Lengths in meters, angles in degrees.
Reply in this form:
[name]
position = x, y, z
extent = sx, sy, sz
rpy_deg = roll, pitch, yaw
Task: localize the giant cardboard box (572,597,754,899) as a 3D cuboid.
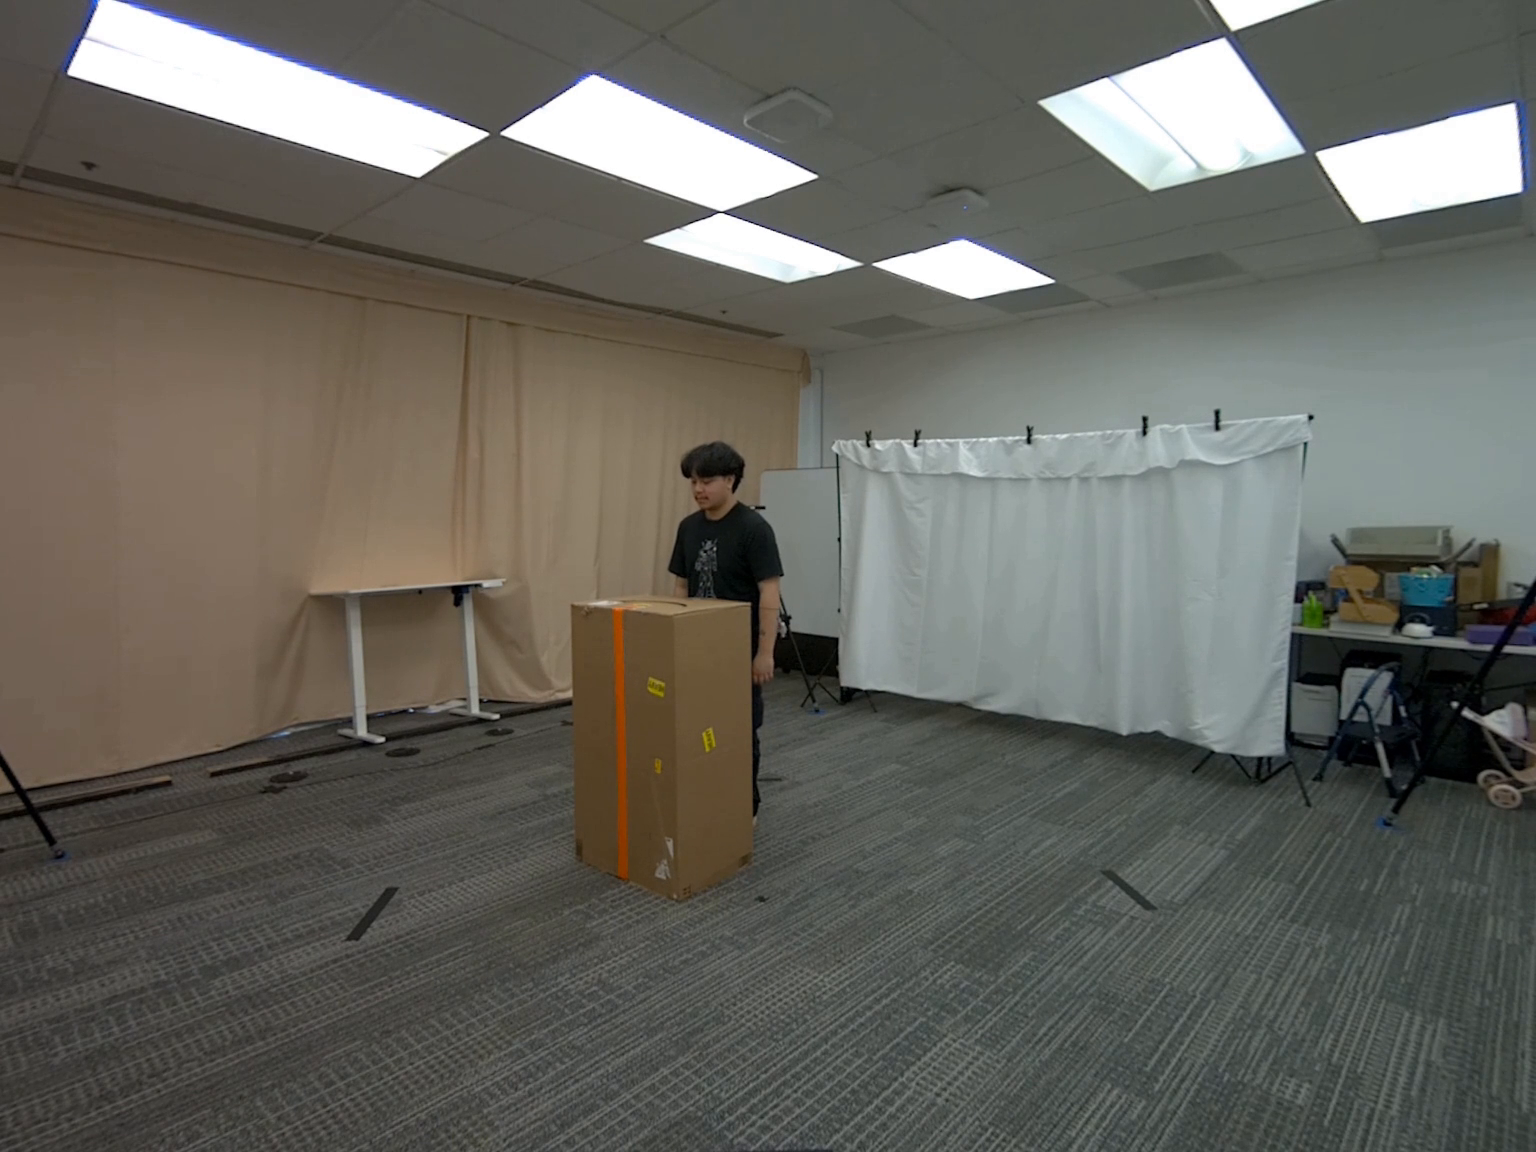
[giant cardboard box]
position = -0.417, 0.612, 3.281
extent = 0.603, 1.025, 0.433
rpy_deg = 2, 5, 41
